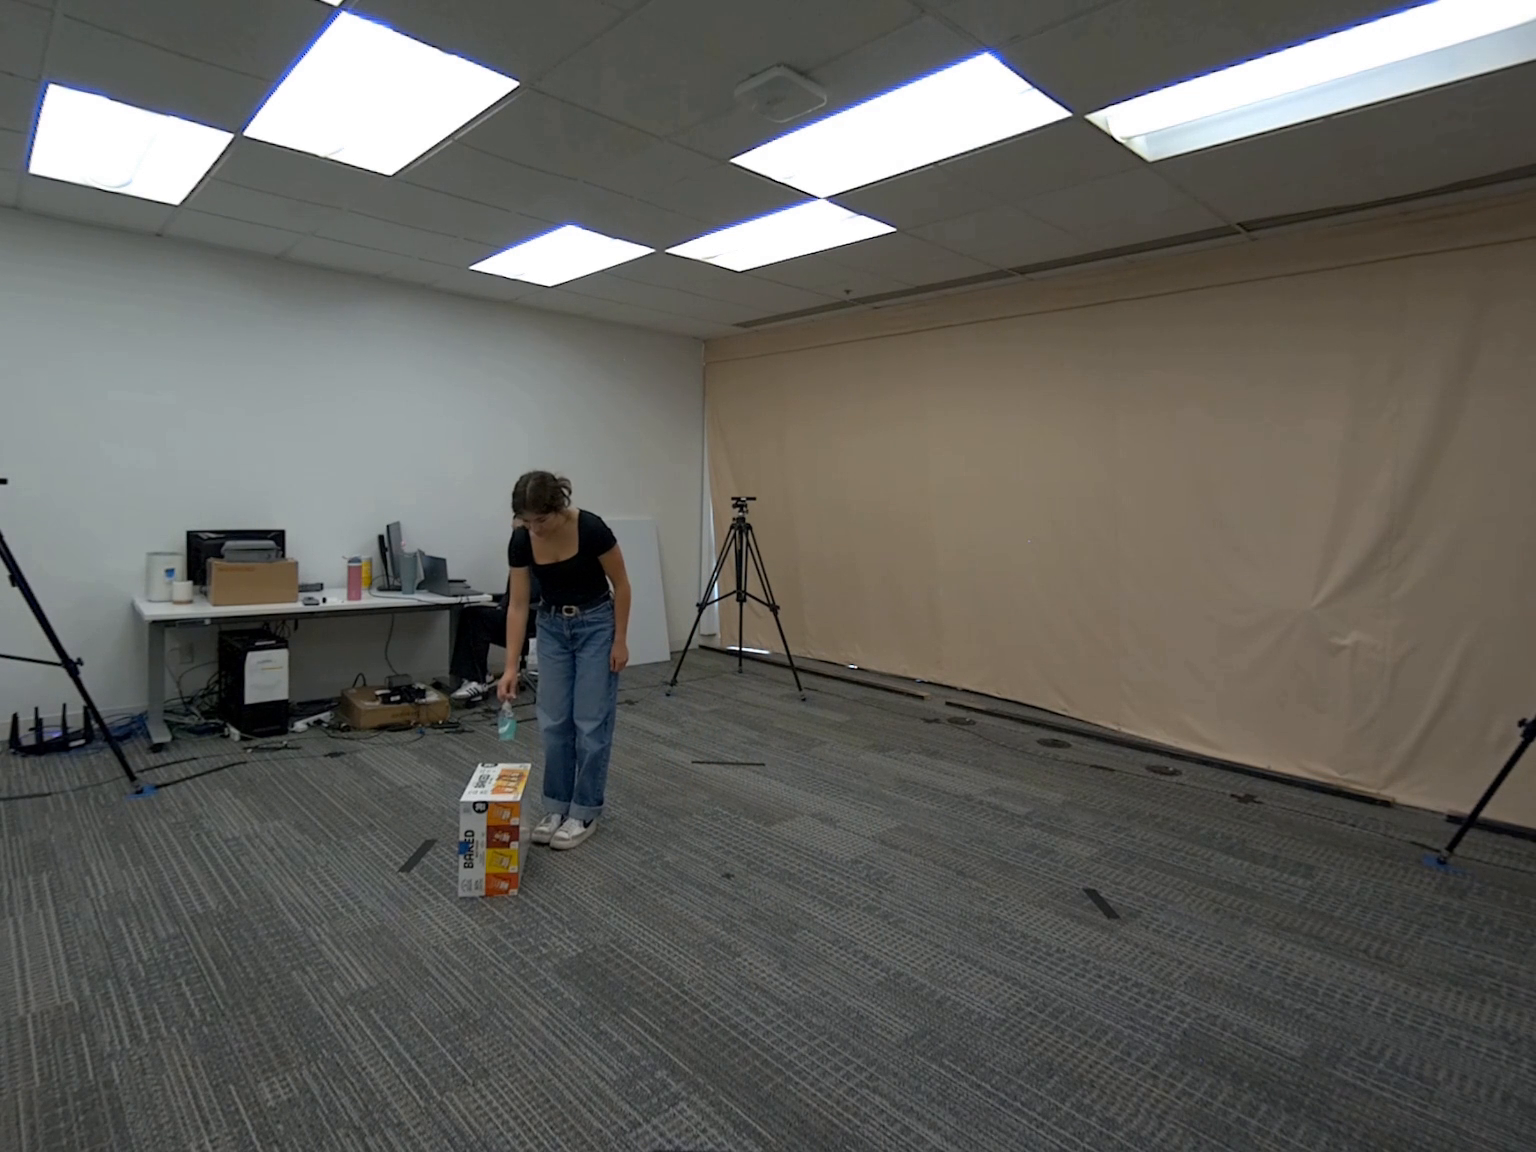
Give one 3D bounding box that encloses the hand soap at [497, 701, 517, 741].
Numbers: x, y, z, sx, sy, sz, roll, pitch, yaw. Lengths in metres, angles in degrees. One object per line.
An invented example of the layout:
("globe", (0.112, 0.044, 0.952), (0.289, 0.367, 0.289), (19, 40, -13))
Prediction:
("hand soap", (-0.992, 0.529, 3.147), (0.086, 0.170, 0.042), (-13, -20, 34))
